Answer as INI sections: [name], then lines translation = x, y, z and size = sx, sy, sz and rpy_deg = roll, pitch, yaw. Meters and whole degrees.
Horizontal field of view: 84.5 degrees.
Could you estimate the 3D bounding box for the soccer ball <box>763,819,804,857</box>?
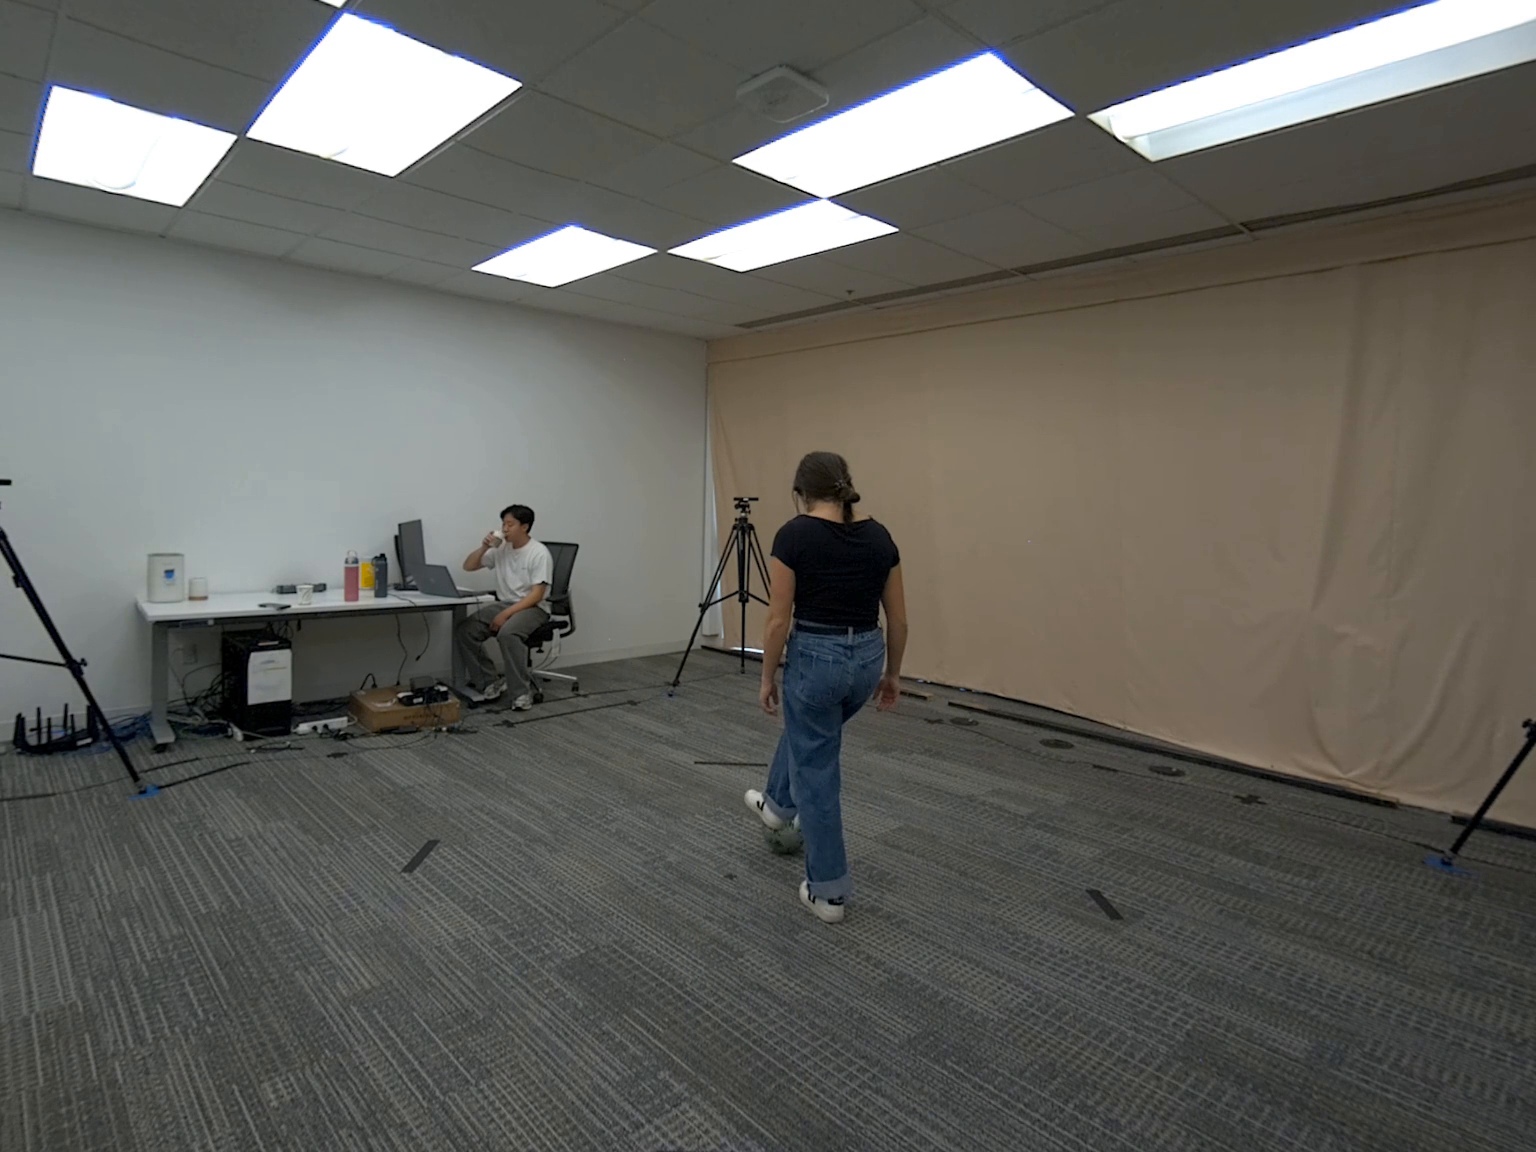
[soccer ball]
translation = 0.070, 1.002, 3.329
size = 0.187, 0.187, 0.188
rpy_deg = 1, 4, -1
